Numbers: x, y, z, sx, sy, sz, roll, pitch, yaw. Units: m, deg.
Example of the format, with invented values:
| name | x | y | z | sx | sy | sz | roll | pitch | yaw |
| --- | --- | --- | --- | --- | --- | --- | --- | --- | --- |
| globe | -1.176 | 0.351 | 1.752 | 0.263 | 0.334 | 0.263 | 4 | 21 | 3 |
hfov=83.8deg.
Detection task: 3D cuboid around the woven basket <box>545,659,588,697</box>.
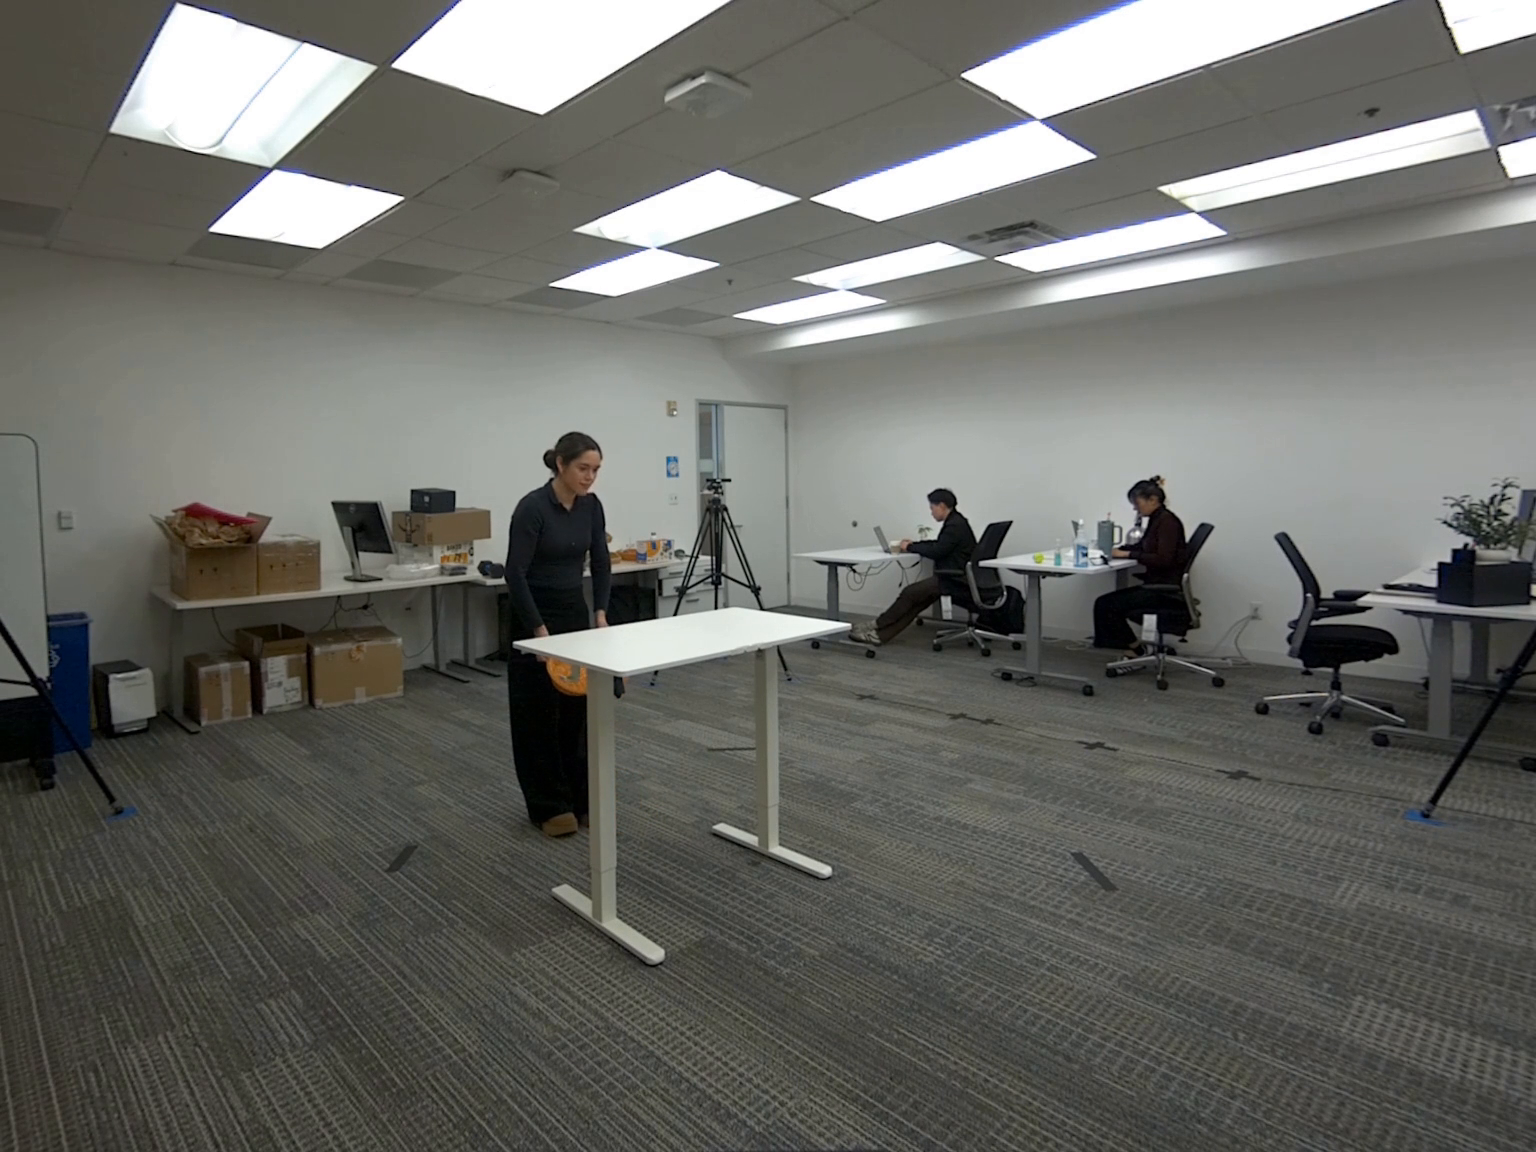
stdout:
| name | x | y | z | sx | sy | sz | roll | pitch | yaw |
| --- | --- | --- | --- | --- | --- | --- | --- | --- | --- |
| woven basket | -0.690 | 0.363 | 3.363 | 0.259 | 0.072 | 0.345 | 40 | 38 | 18 |
